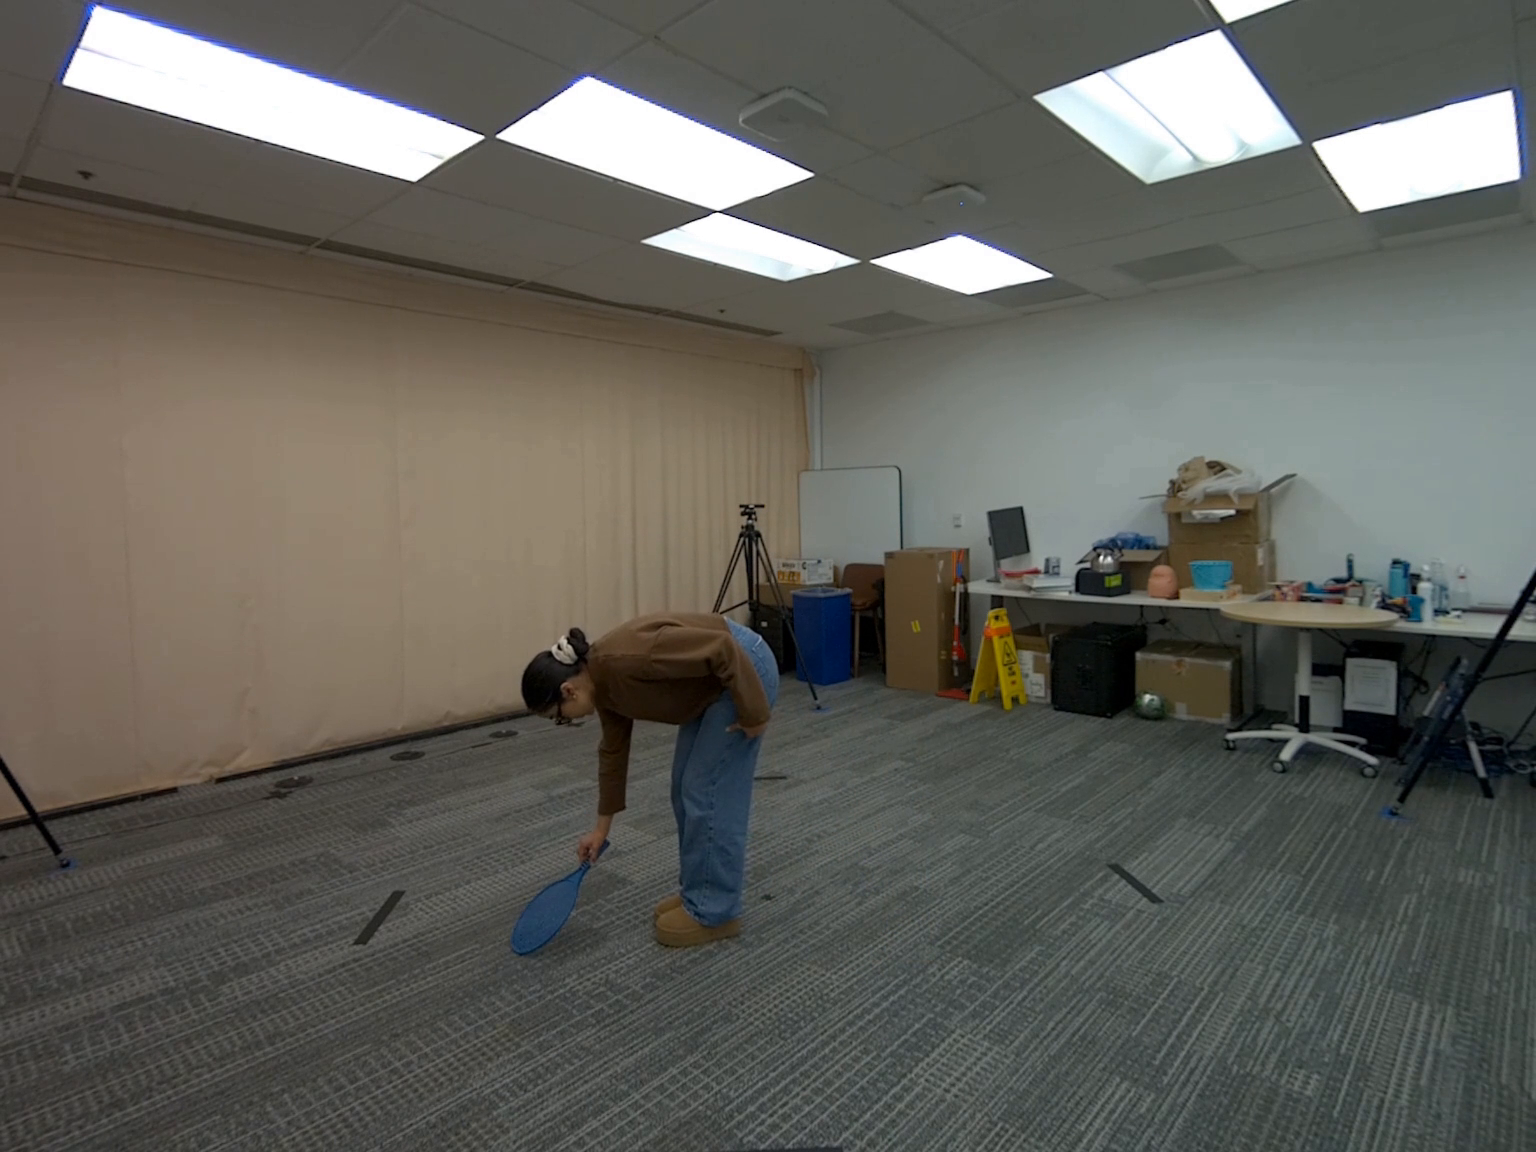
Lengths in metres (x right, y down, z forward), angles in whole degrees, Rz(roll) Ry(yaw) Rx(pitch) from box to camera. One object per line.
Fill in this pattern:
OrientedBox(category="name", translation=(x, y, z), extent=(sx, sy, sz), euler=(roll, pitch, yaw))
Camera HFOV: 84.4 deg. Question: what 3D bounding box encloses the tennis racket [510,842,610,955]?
OrientedBox(category="tennis racket", translation=(-0.665, 1.042, 2.749), extent=(0.430, 0.031, 0.221), euler=(-45, 30, -23))
